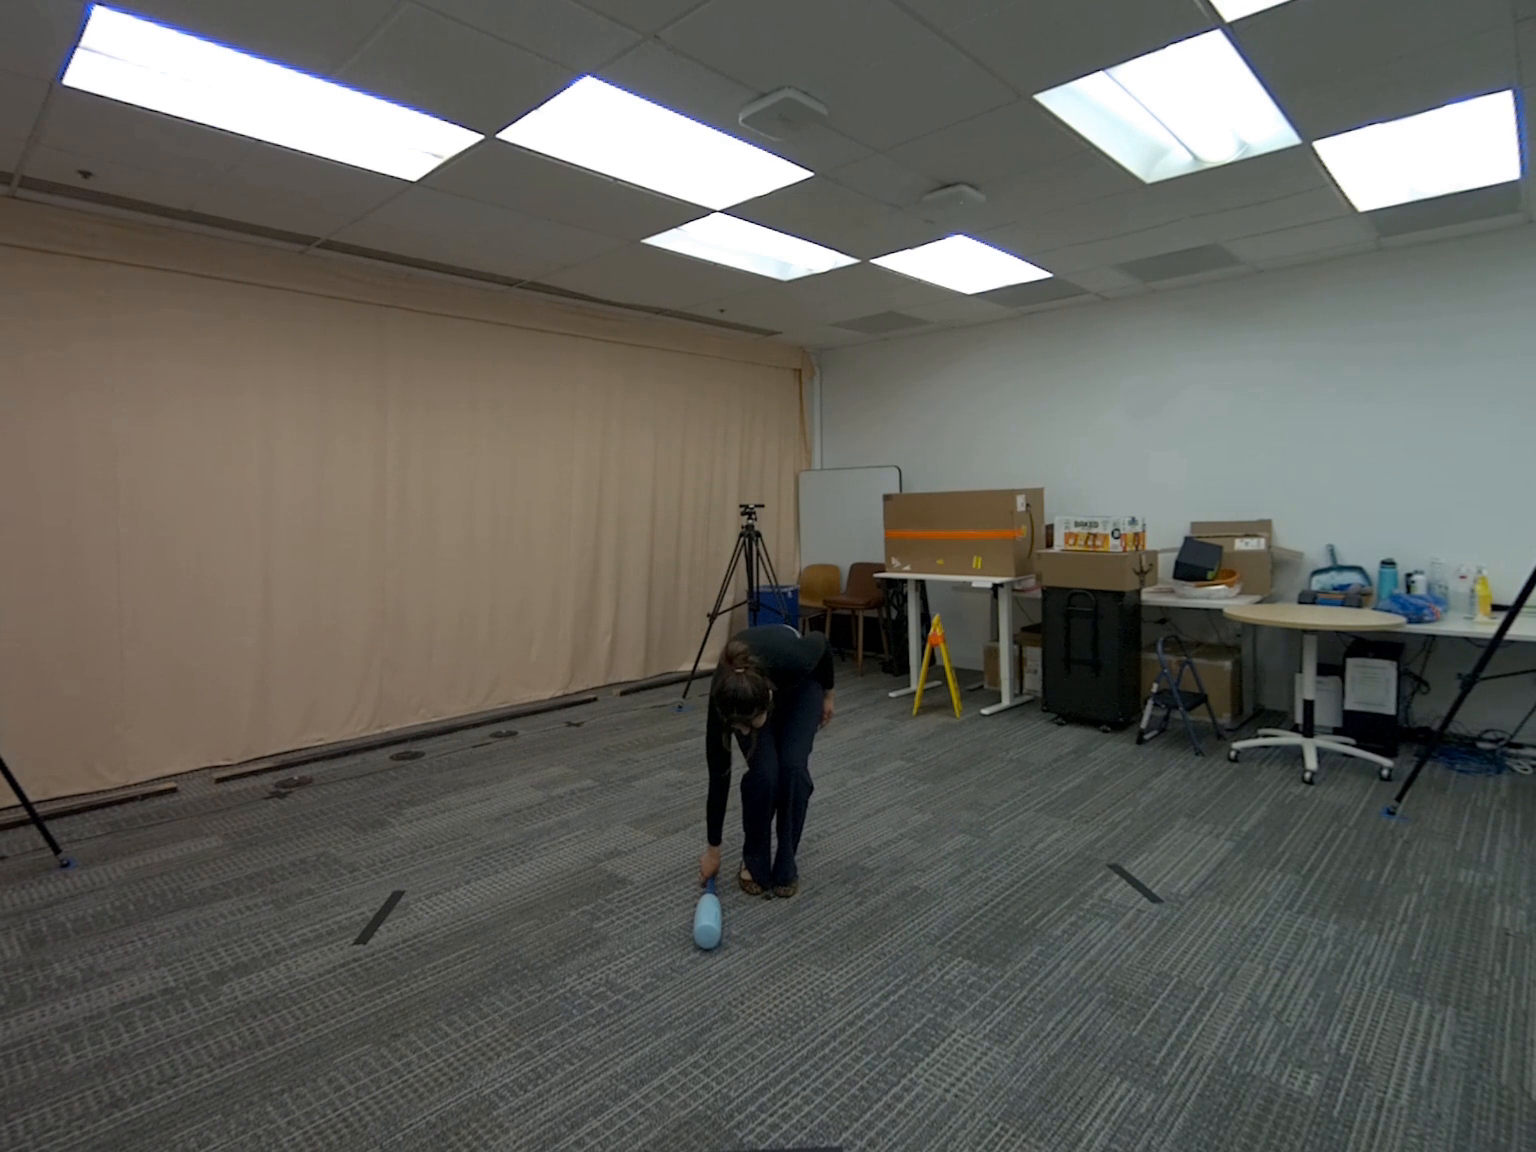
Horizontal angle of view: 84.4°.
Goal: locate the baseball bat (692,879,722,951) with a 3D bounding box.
[{"bbox_3d":[-0.201,1.112,2.885,0.089,0.089,0.544,-1,2,-3],"label":"baseball bat"}]
